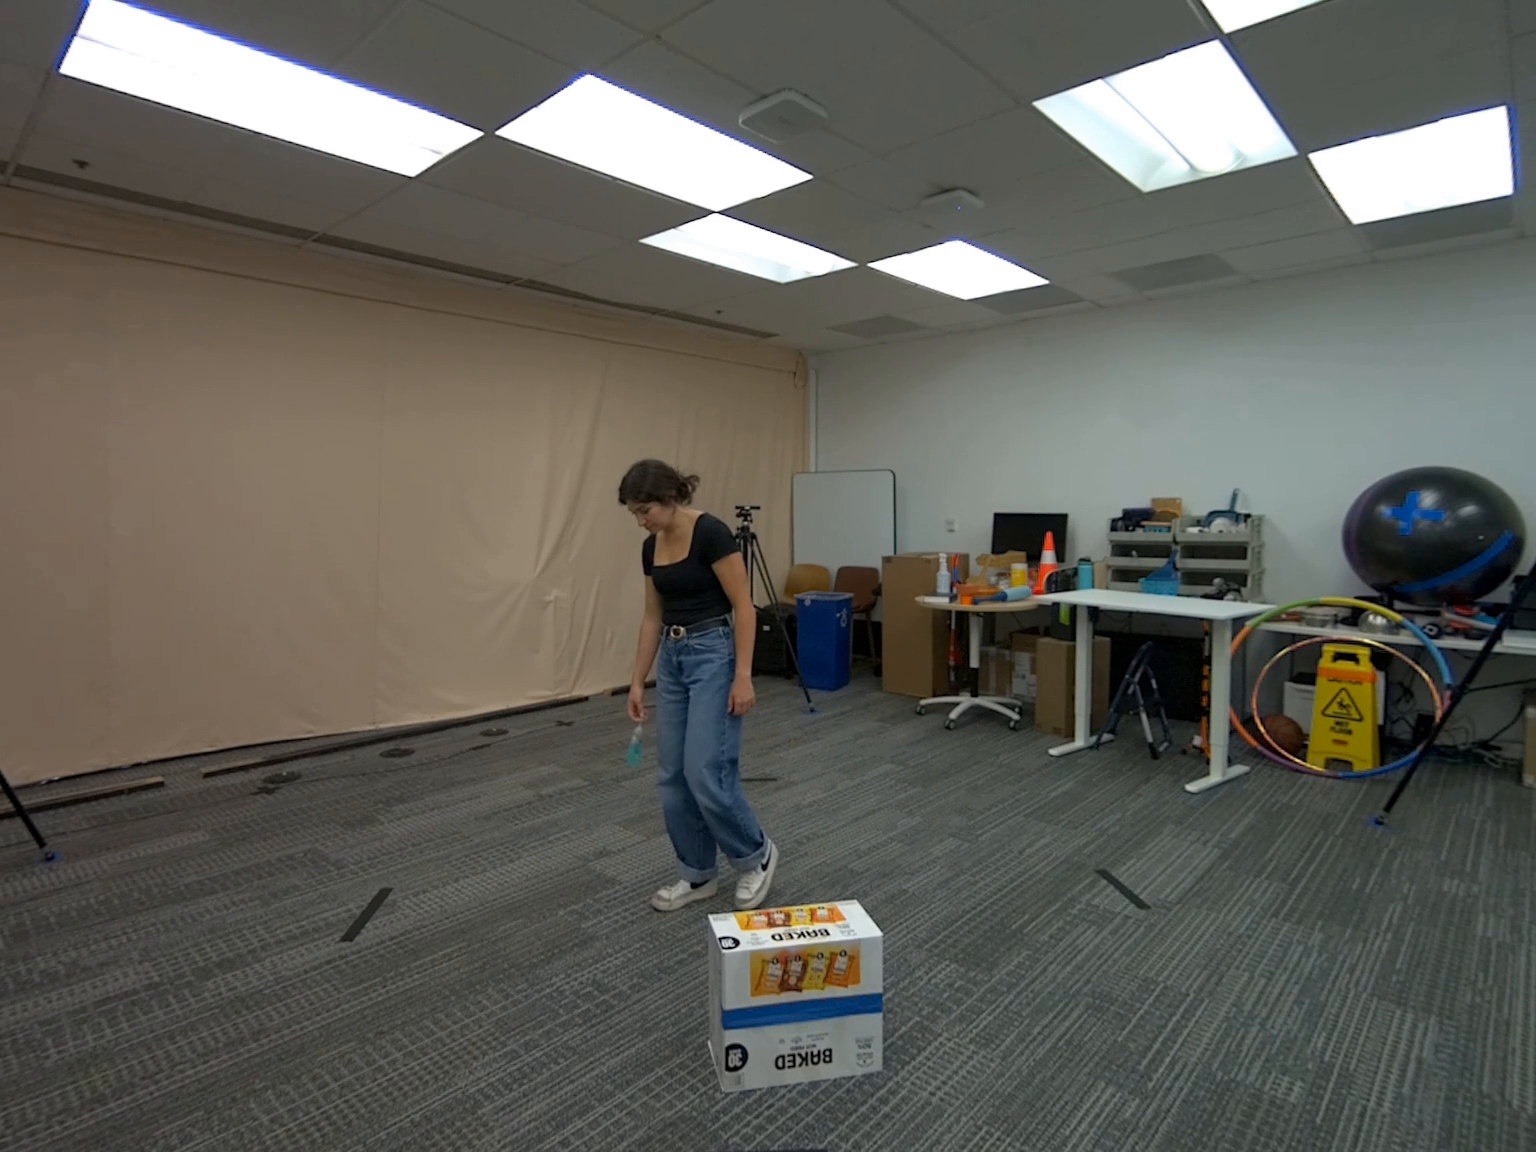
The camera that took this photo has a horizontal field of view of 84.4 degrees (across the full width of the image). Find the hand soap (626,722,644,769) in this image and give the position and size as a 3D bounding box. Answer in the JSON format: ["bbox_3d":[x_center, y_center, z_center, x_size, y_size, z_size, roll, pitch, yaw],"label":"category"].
[{"bbox_3d":[-0.457,0.587,2.972,0.044,0.168,0.084,5,3,5],"label":"hand soap"}]
